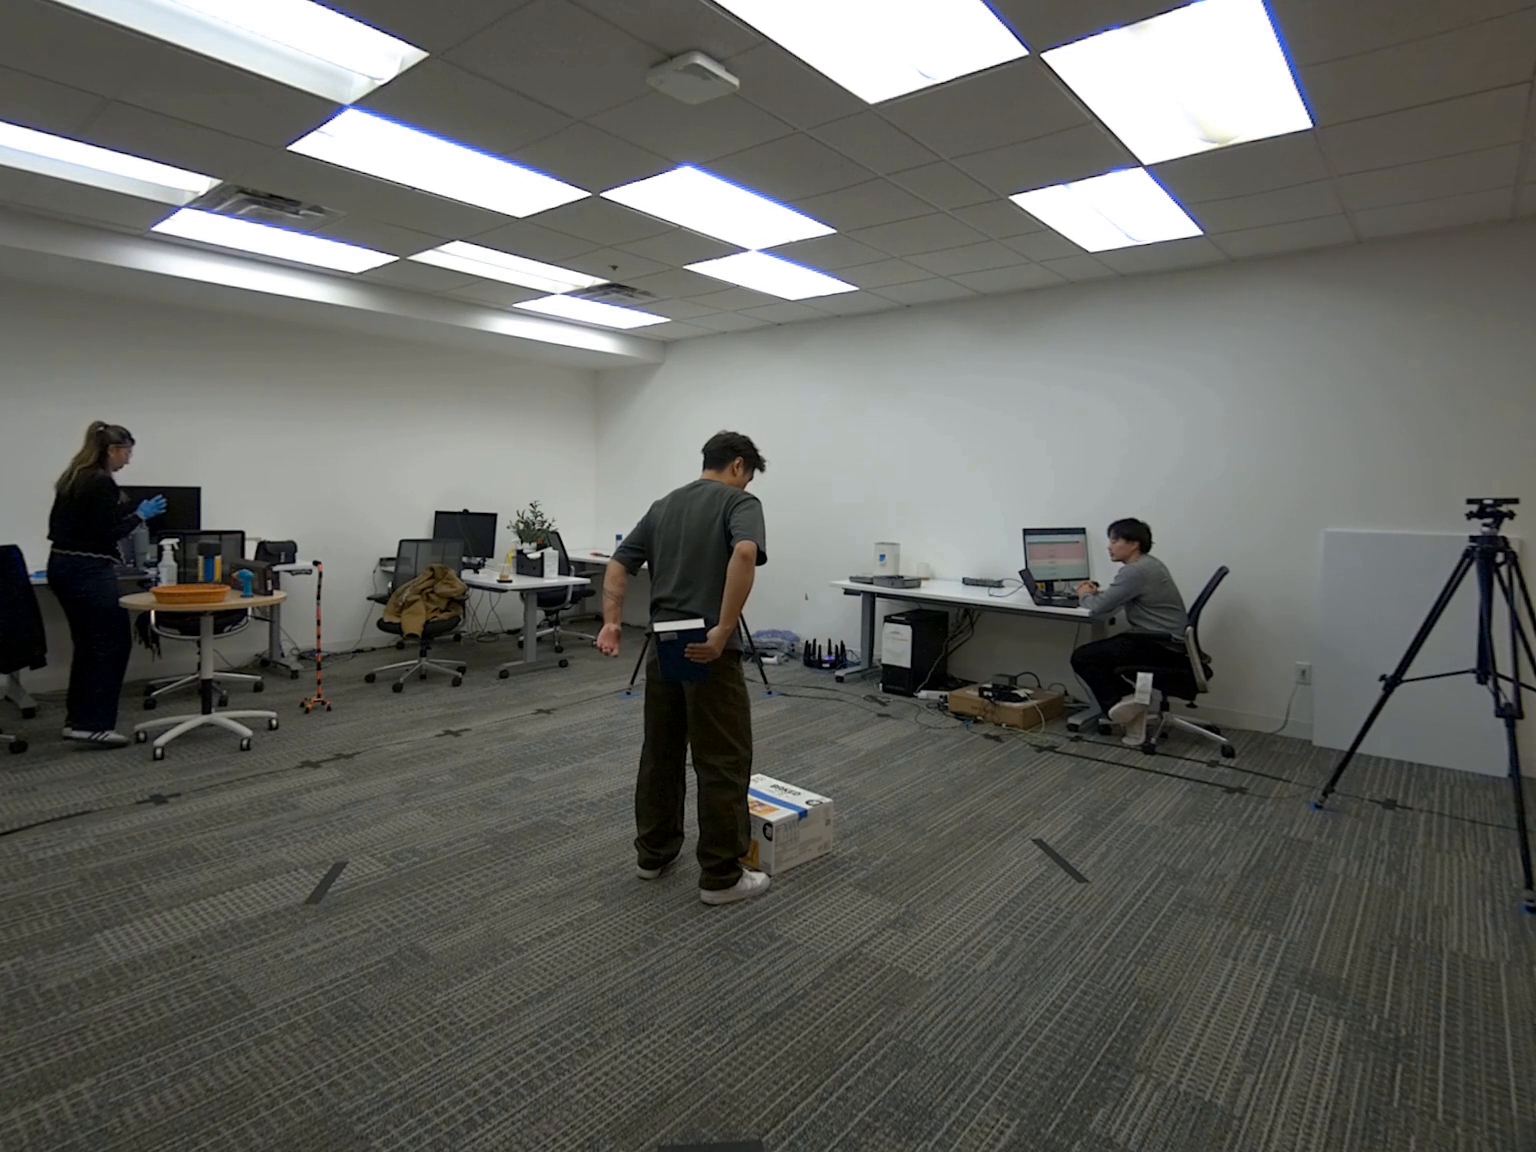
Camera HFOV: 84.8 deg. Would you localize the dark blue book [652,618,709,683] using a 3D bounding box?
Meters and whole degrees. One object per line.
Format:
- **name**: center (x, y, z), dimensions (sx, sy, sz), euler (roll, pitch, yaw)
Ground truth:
- **dark blue book**: center (-0.286, 0.229, 2.683), dimensions (0.163, 0.238, 0.047), euler (-3, 43, -5)
